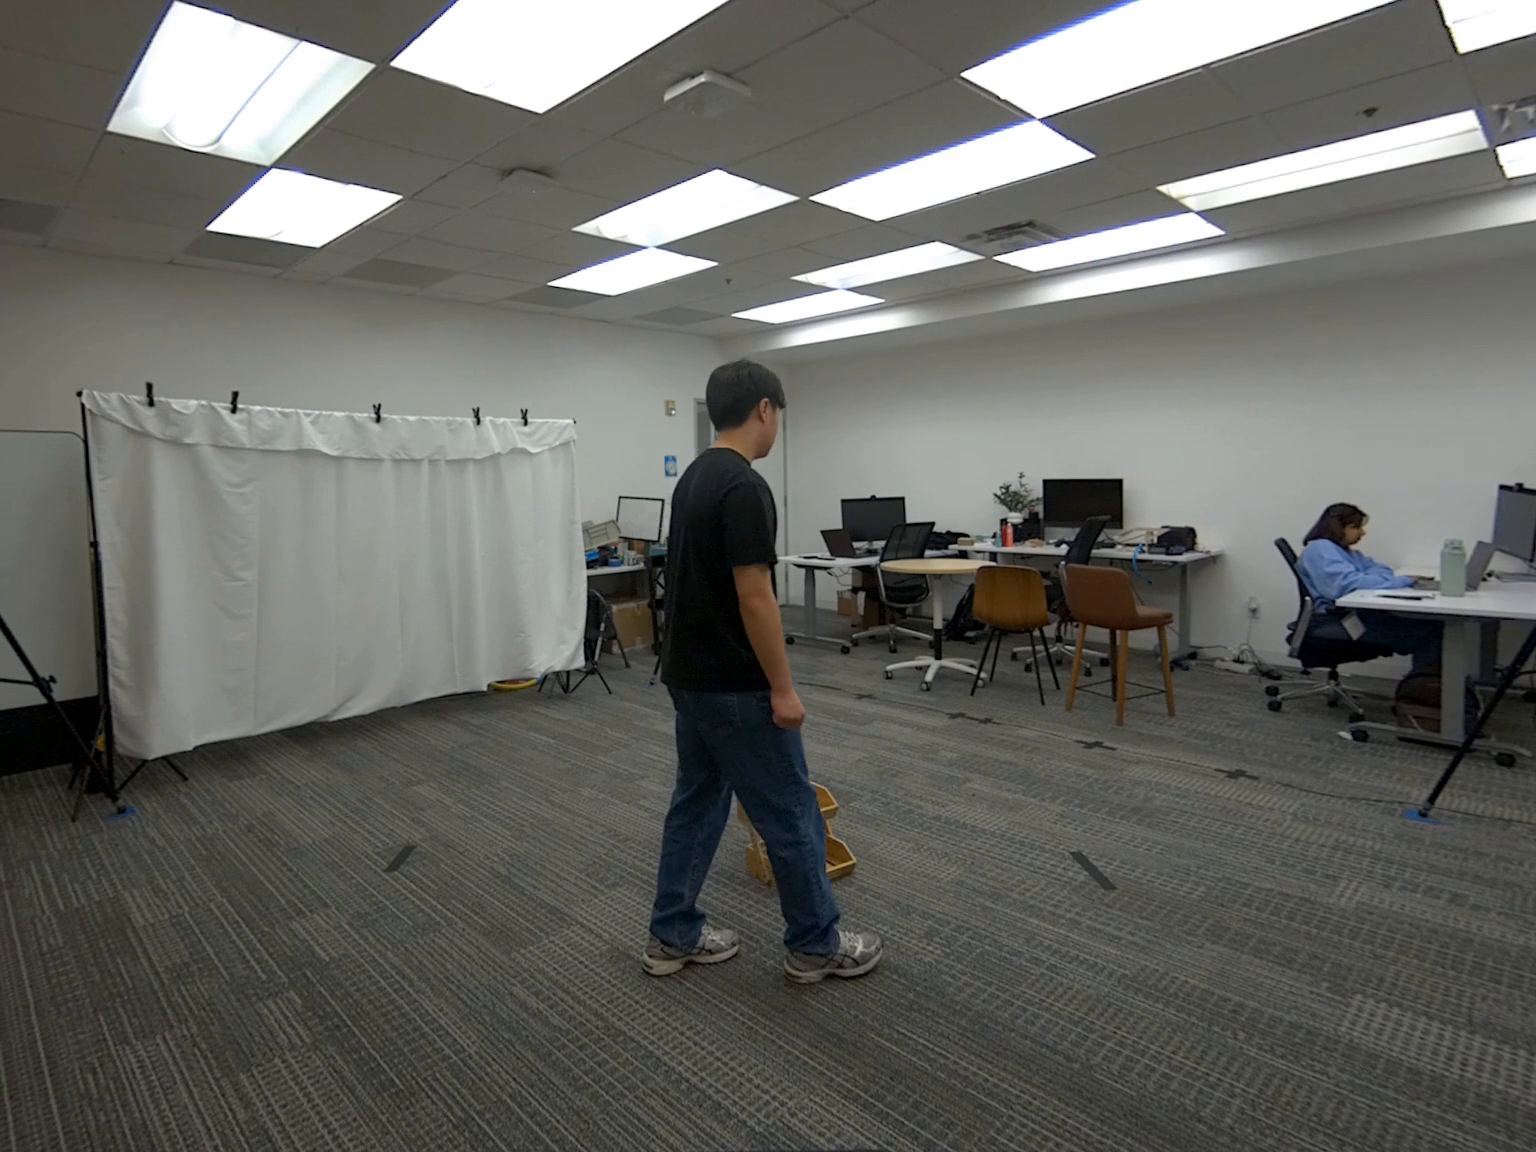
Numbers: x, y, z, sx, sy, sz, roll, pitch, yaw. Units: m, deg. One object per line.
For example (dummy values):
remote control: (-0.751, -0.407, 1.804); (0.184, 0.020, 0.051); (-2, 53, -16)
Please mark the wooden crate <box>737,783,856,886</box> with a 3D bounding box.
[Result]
wooden crate: (0.109, 0.915, 3.033); (0.316, 0.272, 0.311); (-5, 6, -35)
